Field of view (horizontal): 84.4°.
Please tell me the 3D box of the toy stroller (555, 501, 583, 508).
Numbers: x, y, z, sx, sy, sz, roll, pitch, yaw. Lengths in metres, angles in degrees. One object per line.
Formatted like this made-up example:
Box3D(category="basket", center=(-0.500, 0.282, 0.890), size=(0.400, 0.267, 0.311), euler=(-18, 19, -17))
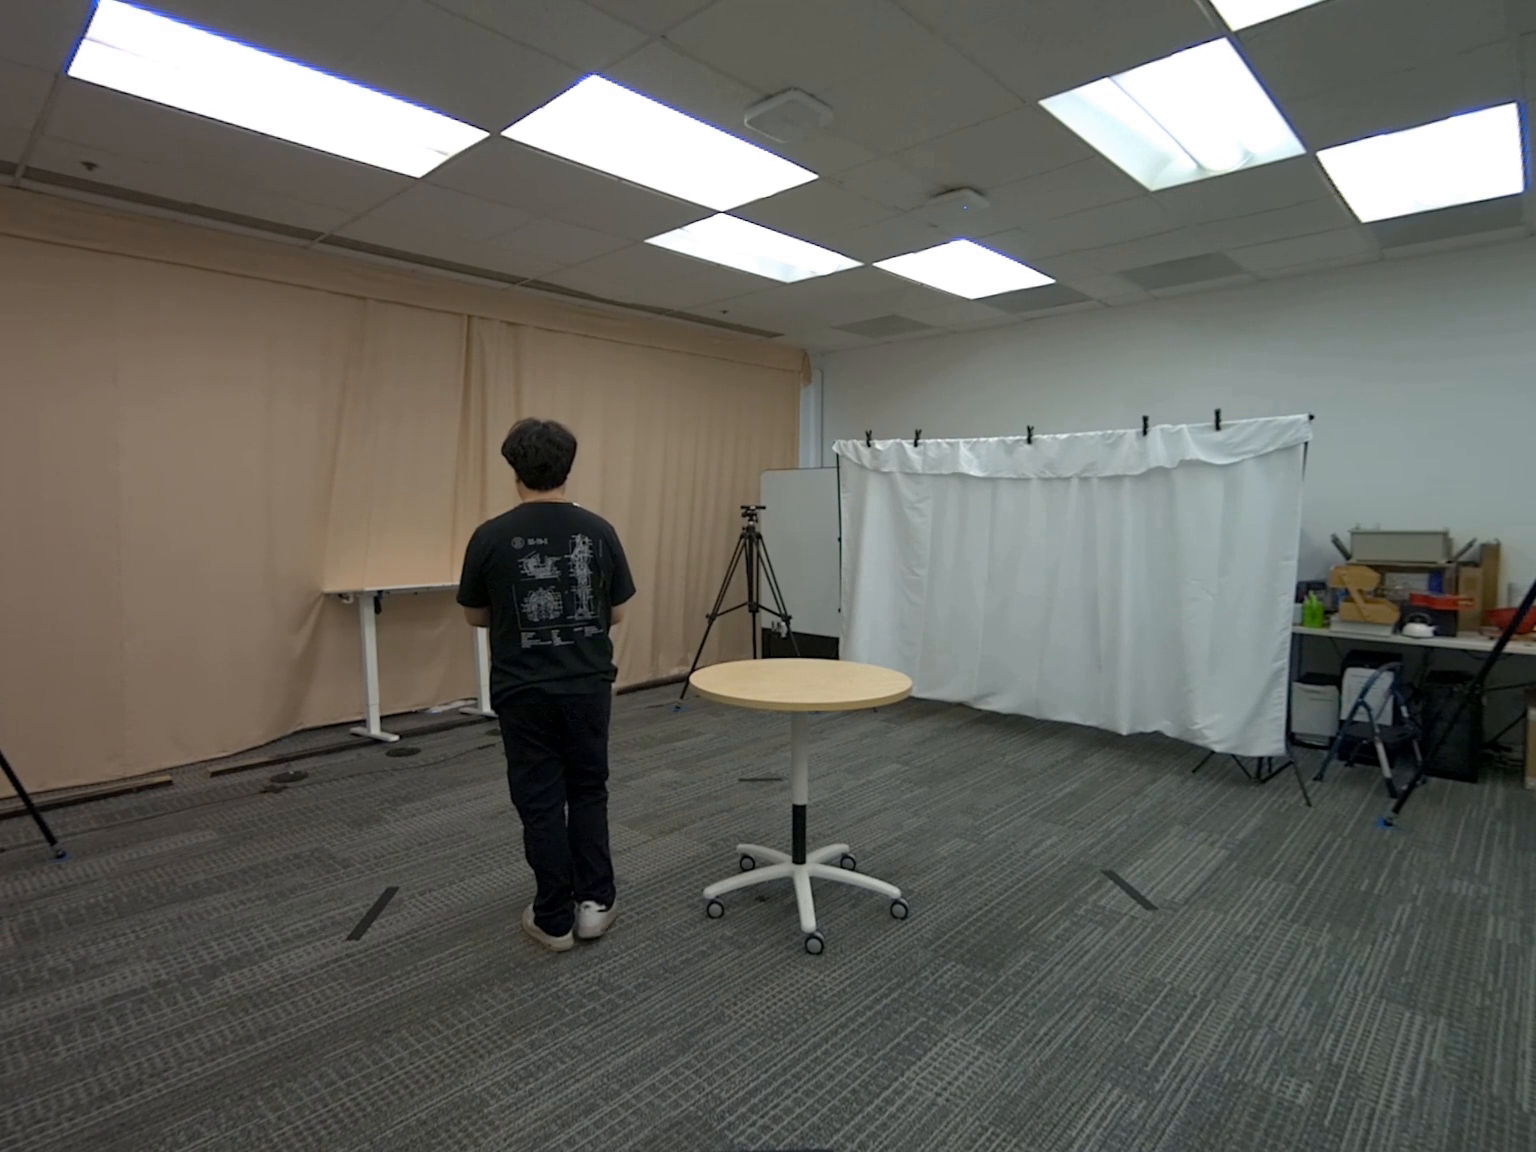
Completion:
Box3D(category="toy stroller", center=(-0.862, -0.017, 3.053), size=(0.353, 0.531, 0.274), euler=(11, 14, 36))
